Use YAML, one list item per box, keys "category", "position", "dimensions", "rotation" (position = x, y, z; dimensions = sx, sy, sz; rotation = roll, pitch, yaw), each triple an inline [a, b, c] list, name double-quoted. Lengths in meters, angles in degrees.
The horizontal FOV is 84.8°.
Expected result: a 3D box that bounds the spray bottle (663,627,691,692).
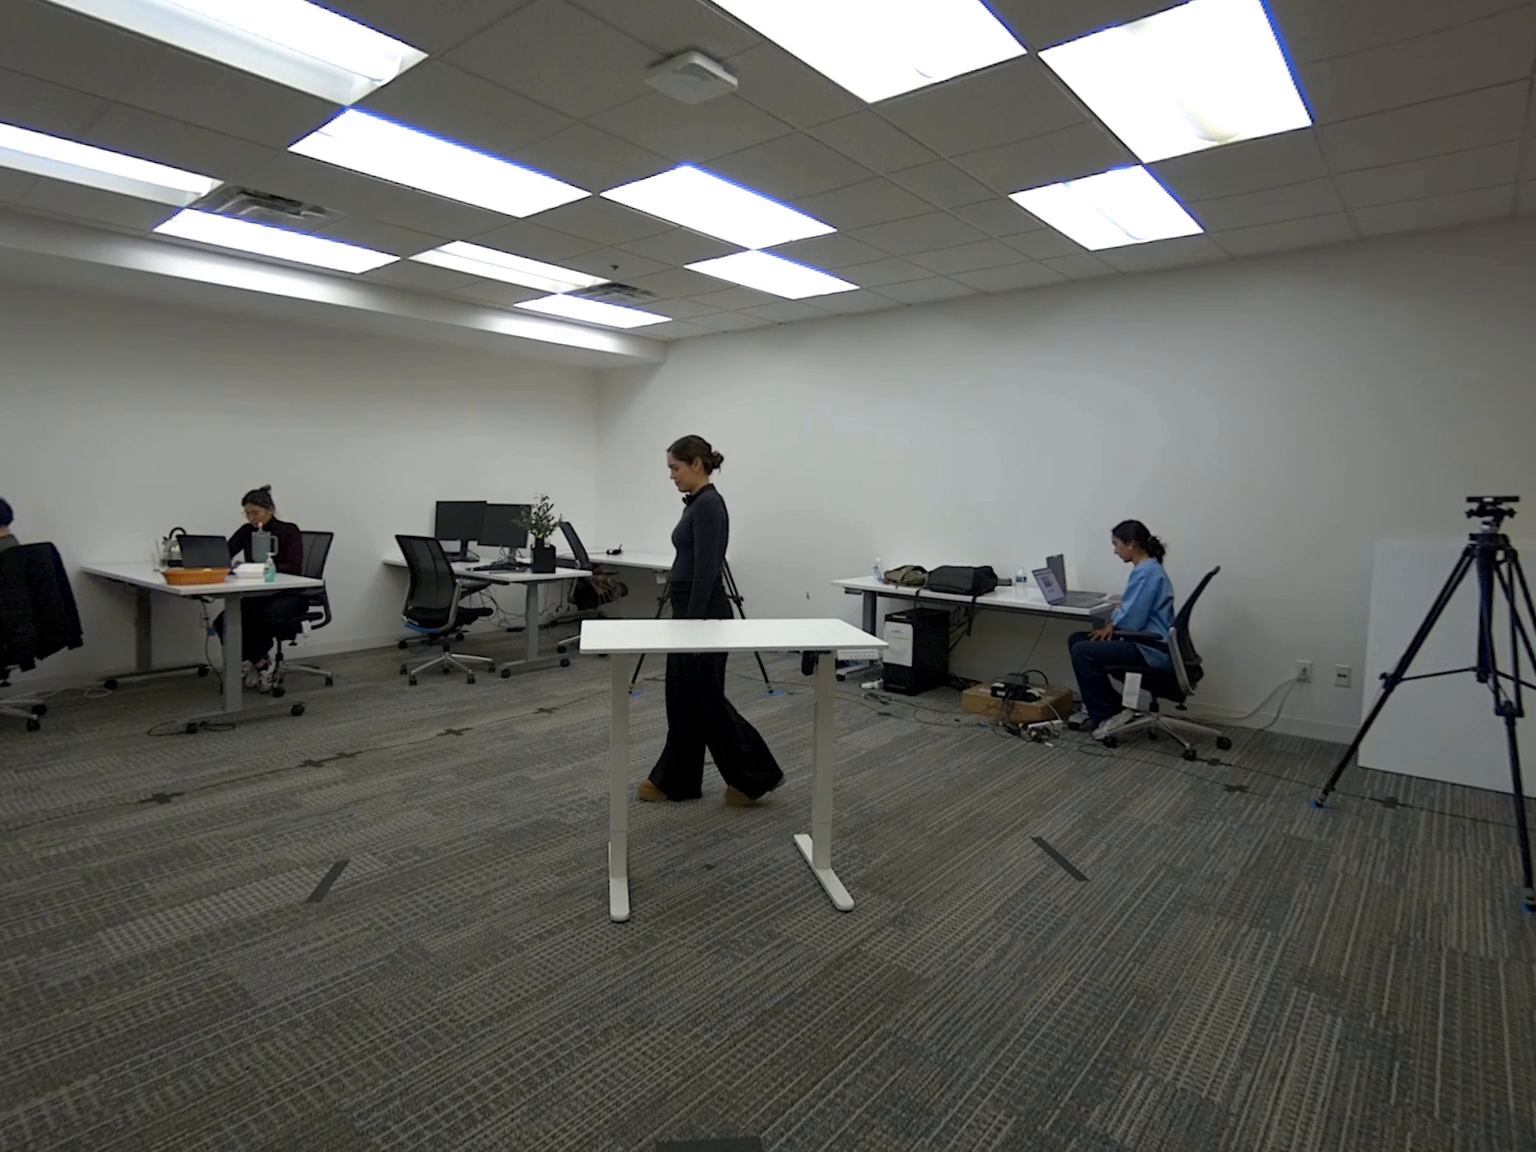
- category: "spray bottle"
  position: [-0.436, 0.398, 3.993]
  dimensions: [0.092, 0.297, 0.085]
  rotation: [2, 3, 26]
